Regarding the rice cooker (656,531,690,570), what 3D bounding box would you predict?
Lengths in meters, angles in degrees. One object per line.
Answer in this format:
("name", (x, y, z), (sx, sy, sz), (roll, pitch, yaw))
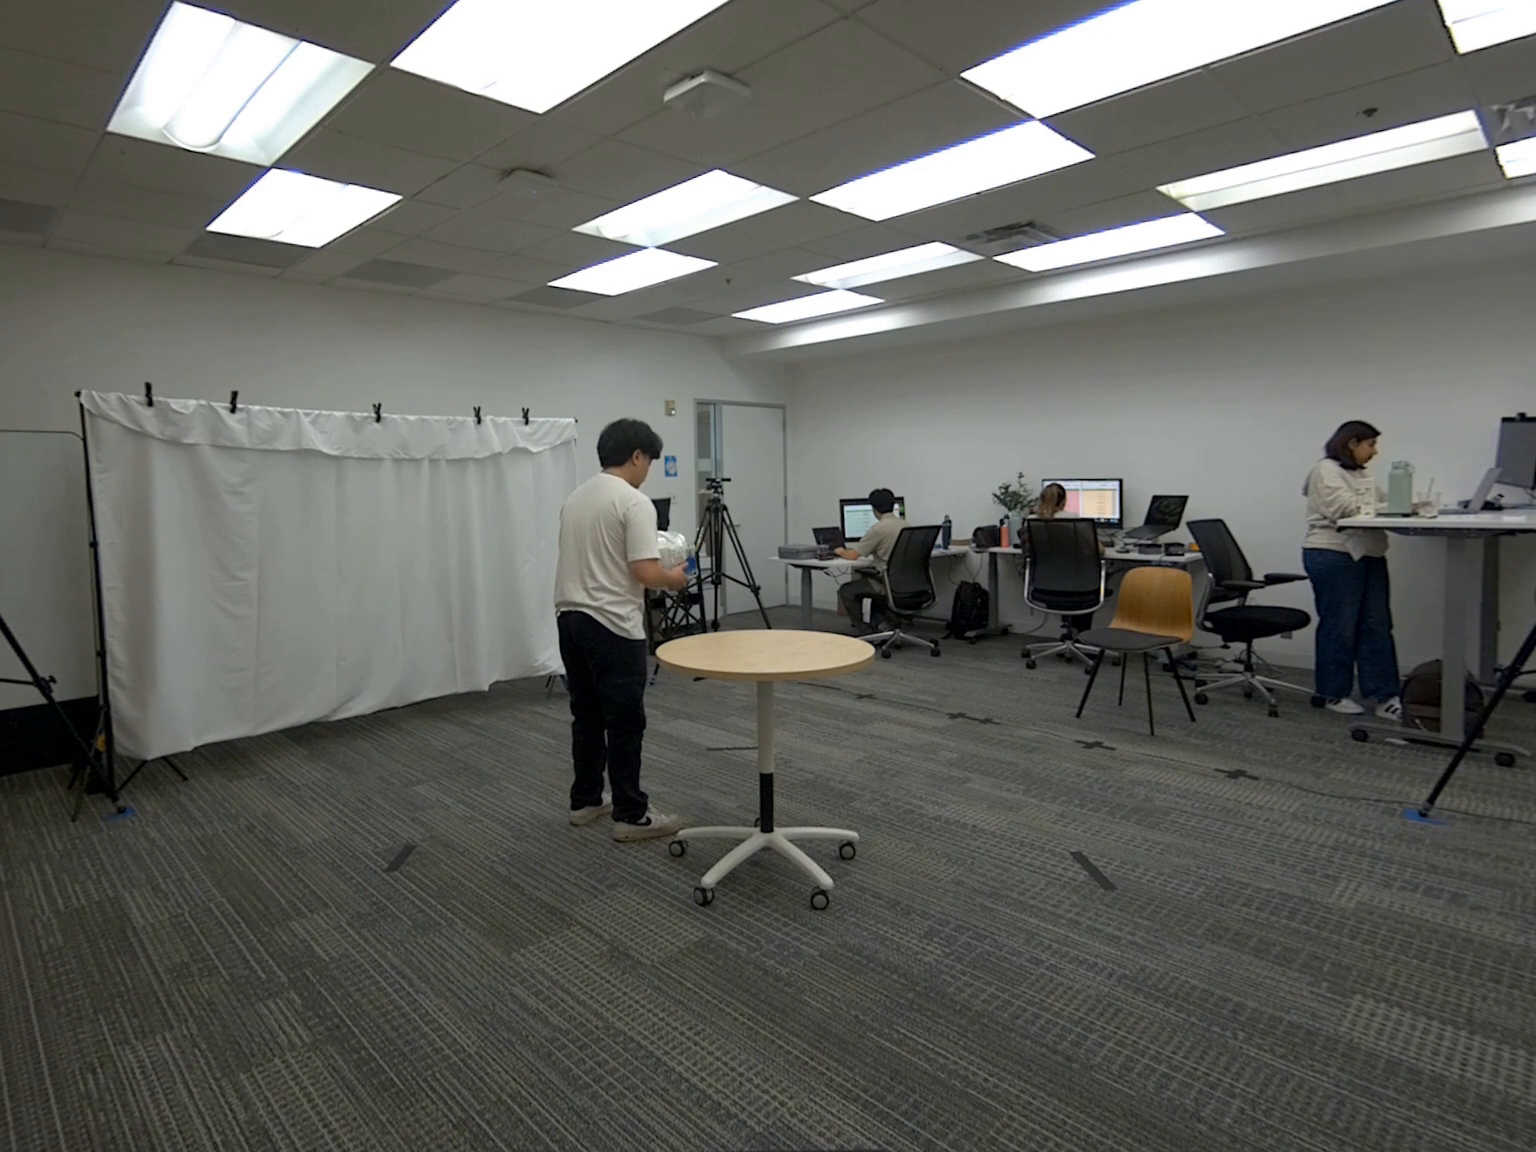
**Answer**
("rice cooker", (-0.439, -0.073, 3.592), (0.213, 0.229, 0.228), (-20, 22, -38))
